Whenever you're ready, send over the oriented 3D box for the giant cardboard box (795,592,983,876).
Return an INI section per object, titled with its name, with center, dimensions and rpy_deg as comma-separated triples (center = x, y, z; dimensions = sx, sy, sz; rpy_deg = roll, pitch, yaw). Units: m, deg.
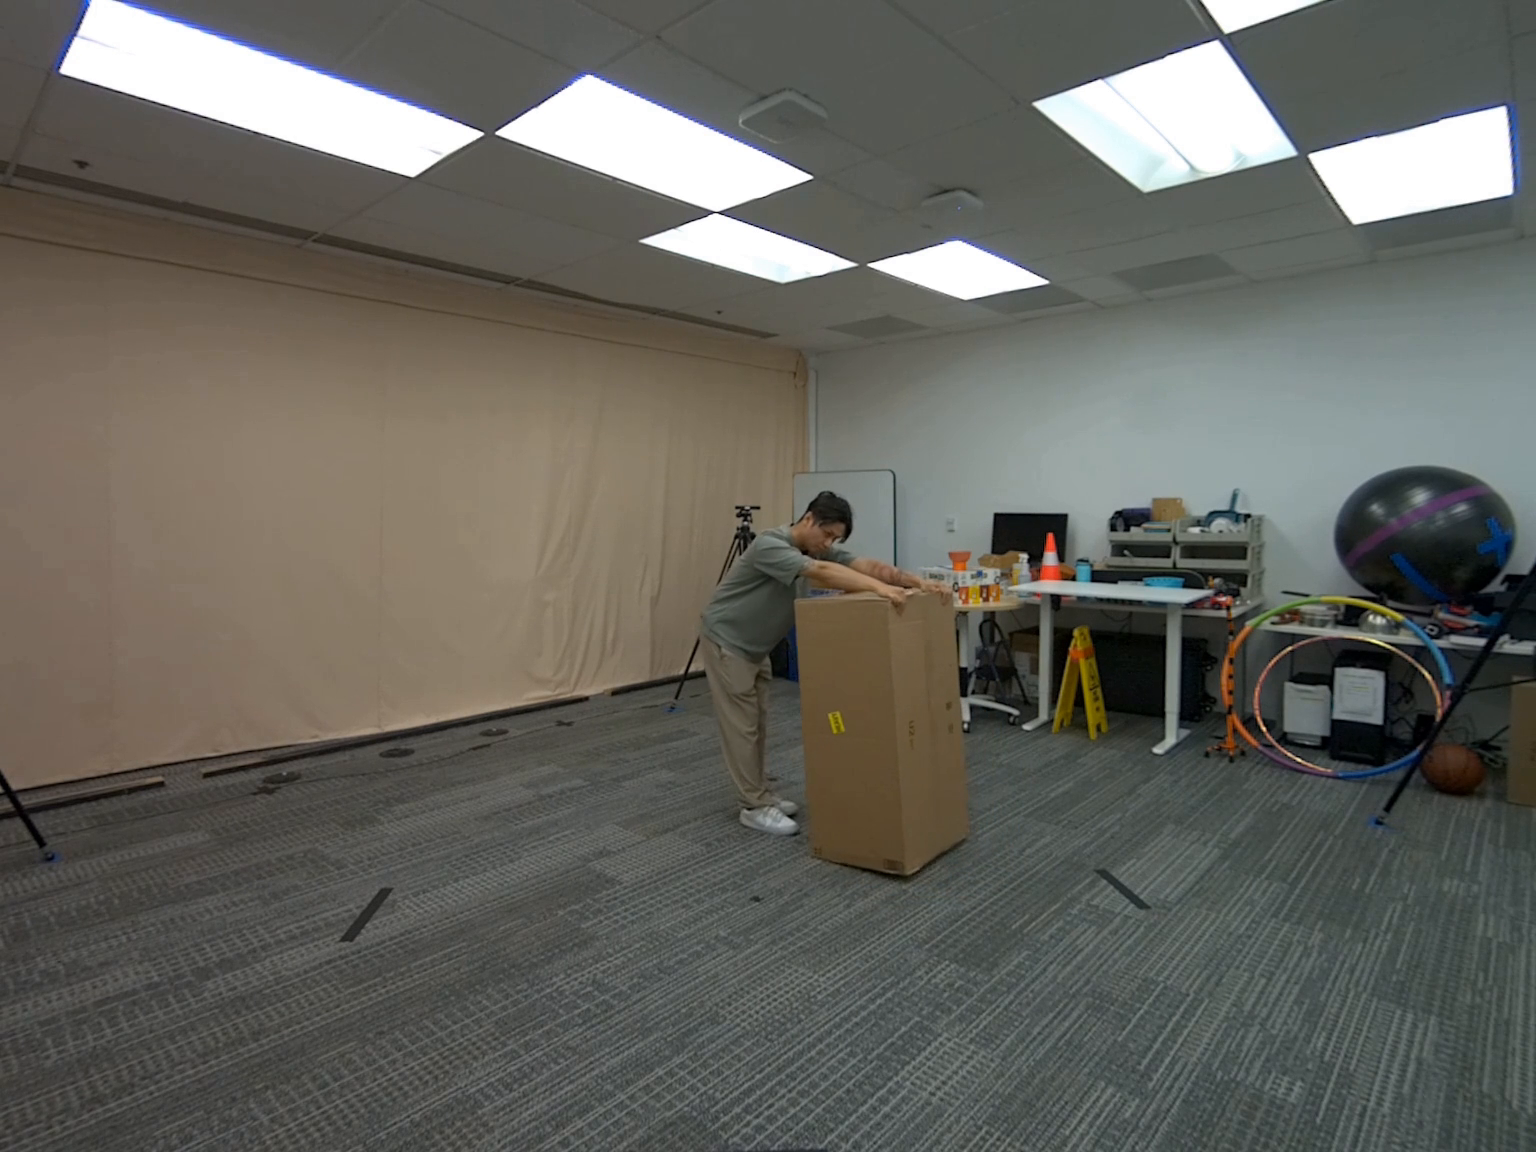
[giant cardboard box]
center = 0.477, 0.585, 3.433
dimensions = 0.439, 1.026, 0.560
rpy_deg = -4, 0, 38
